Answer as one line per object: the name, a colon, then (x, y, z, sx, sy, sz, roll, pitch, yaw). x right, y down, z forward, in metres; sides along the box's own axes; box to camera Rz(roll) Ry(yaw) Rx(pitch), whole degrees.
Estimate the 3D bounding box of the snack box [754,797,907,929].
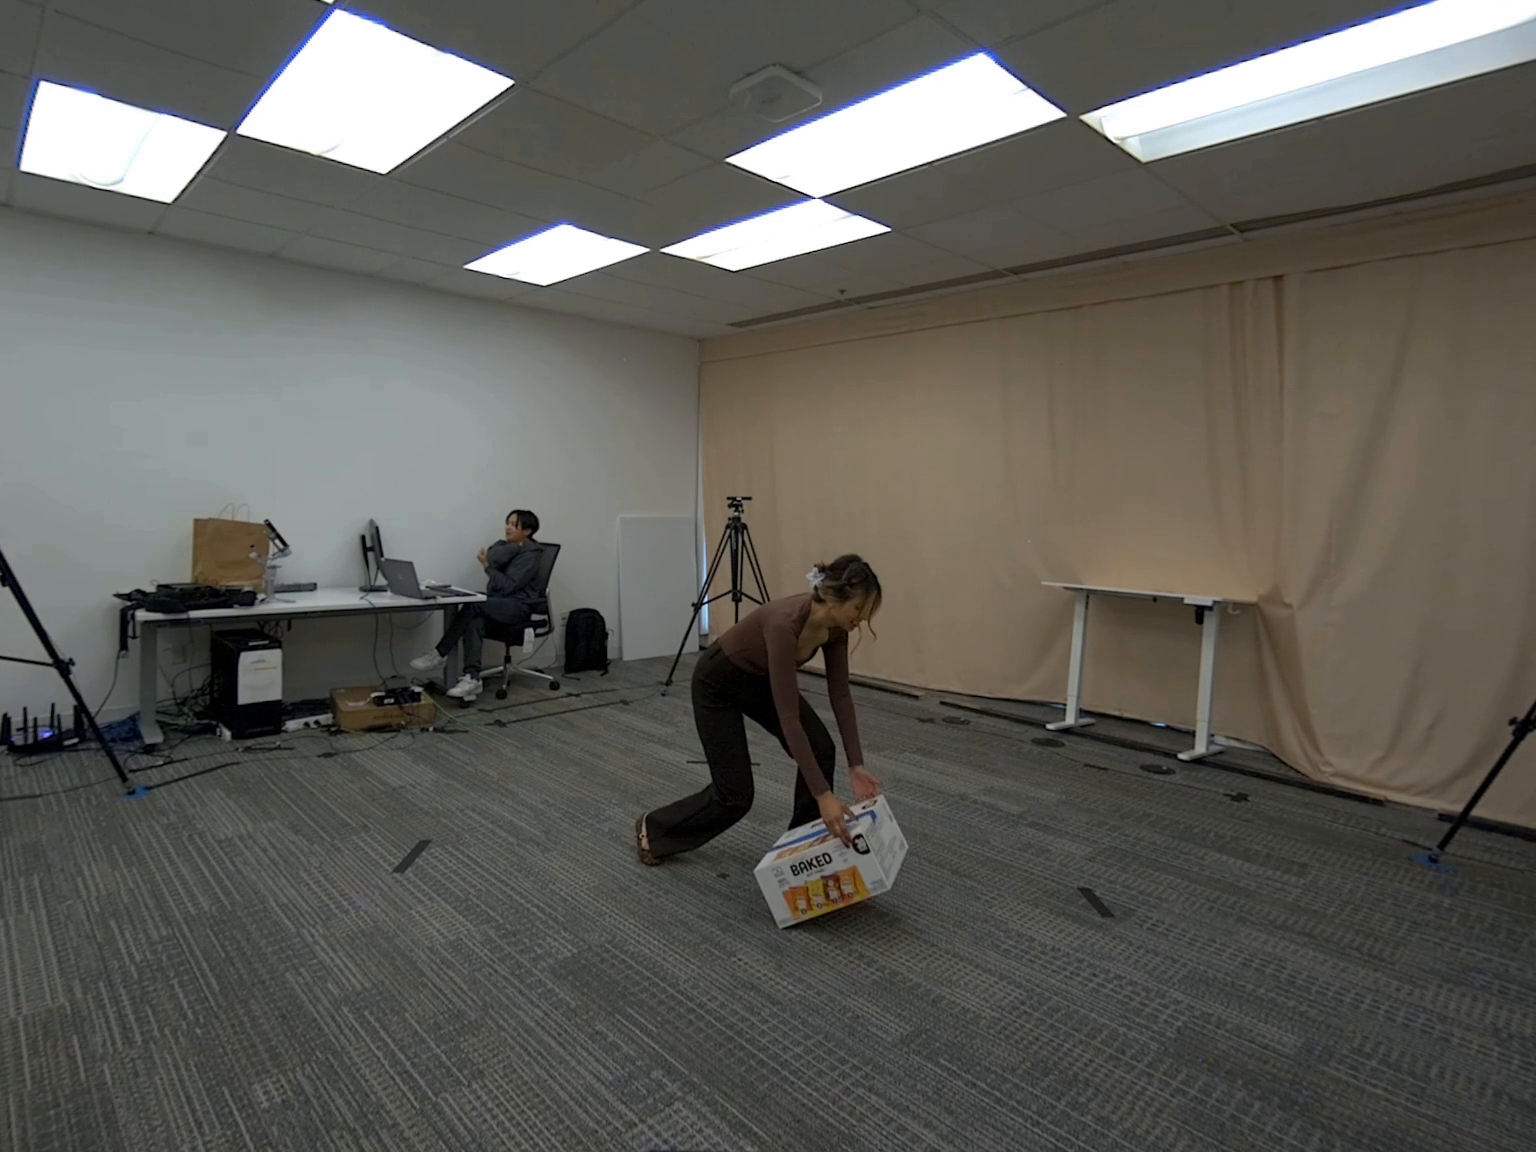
snack box: (0.213, 0.954, 2.826, 0.408, 0.207, 0.336, -28, -5, 20)
